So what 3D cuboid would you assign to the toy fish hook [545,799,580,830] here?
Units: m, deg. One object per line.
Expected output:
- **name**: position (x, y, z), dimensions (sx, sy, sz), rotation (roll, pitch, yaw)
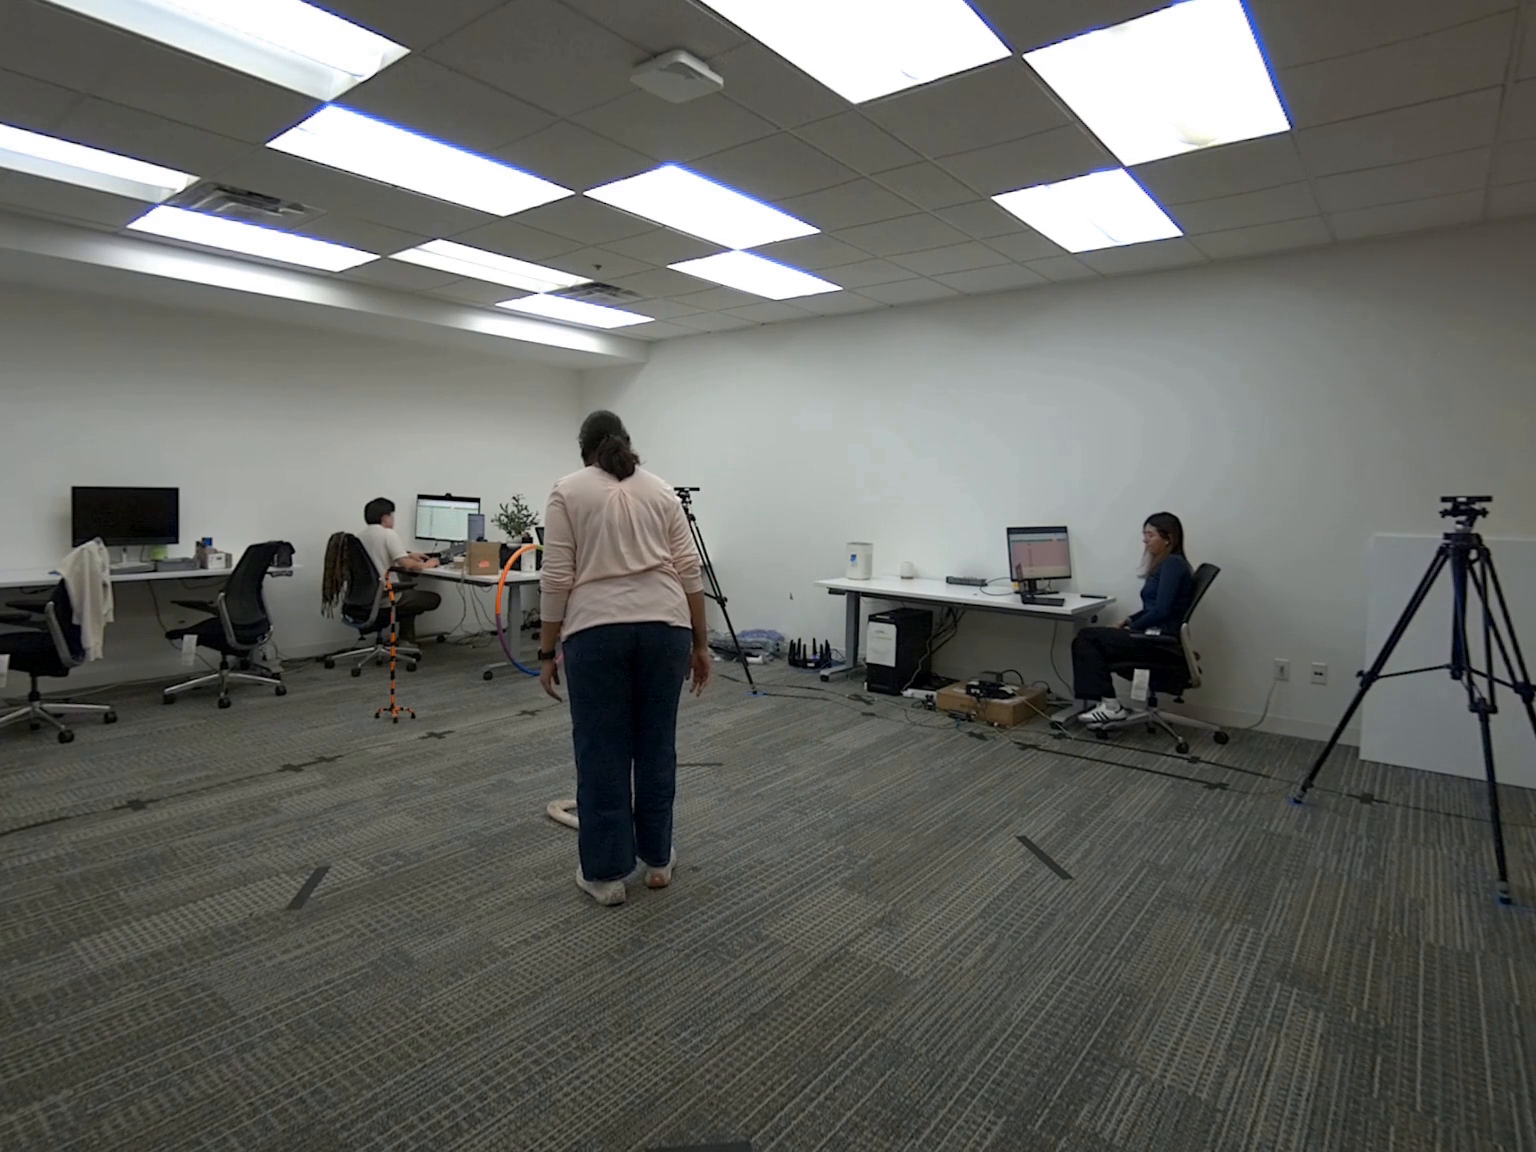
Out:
- **toy fish hook**: position (-0.747, 0.996, 3.491), dimensions (0.218, 0.048, 0.524), rotation (-3, 8, -36)
